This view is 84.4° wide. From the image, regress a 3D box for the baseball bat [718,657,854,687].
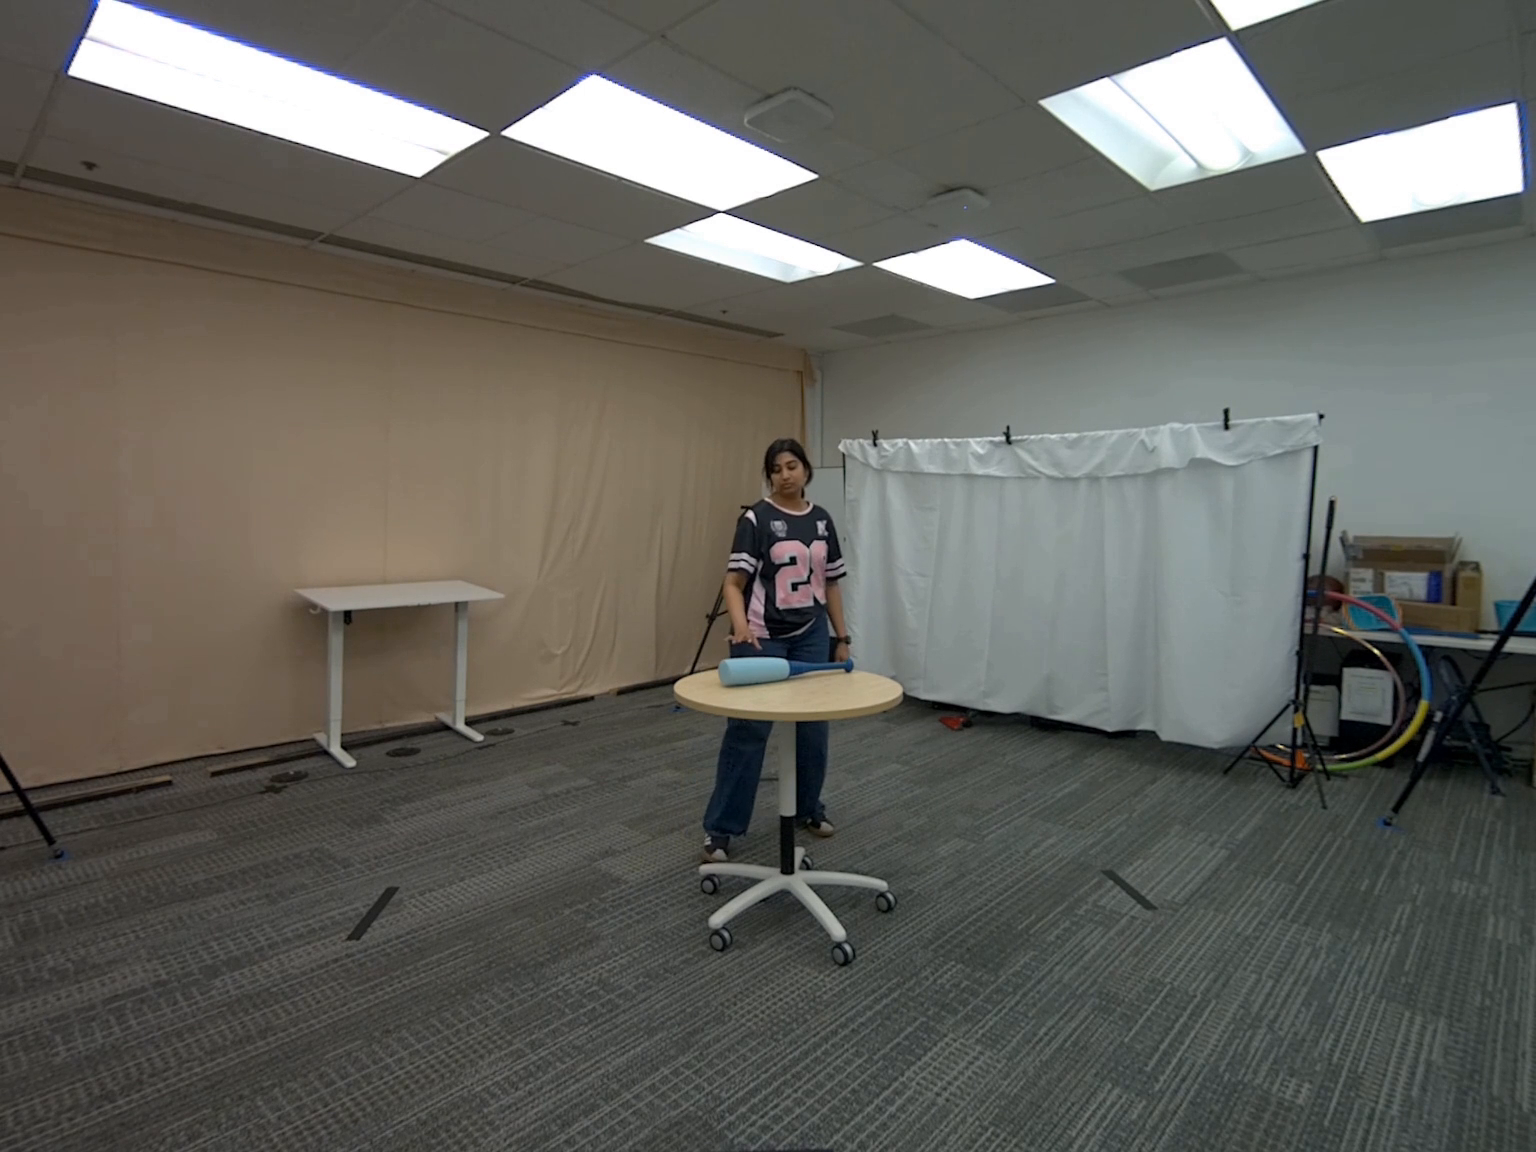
[{"bbox_3d":[0.075,0.326,2.956,0.528,0.089,0.092,0,3,-31],"label":"baseball bat"}]
